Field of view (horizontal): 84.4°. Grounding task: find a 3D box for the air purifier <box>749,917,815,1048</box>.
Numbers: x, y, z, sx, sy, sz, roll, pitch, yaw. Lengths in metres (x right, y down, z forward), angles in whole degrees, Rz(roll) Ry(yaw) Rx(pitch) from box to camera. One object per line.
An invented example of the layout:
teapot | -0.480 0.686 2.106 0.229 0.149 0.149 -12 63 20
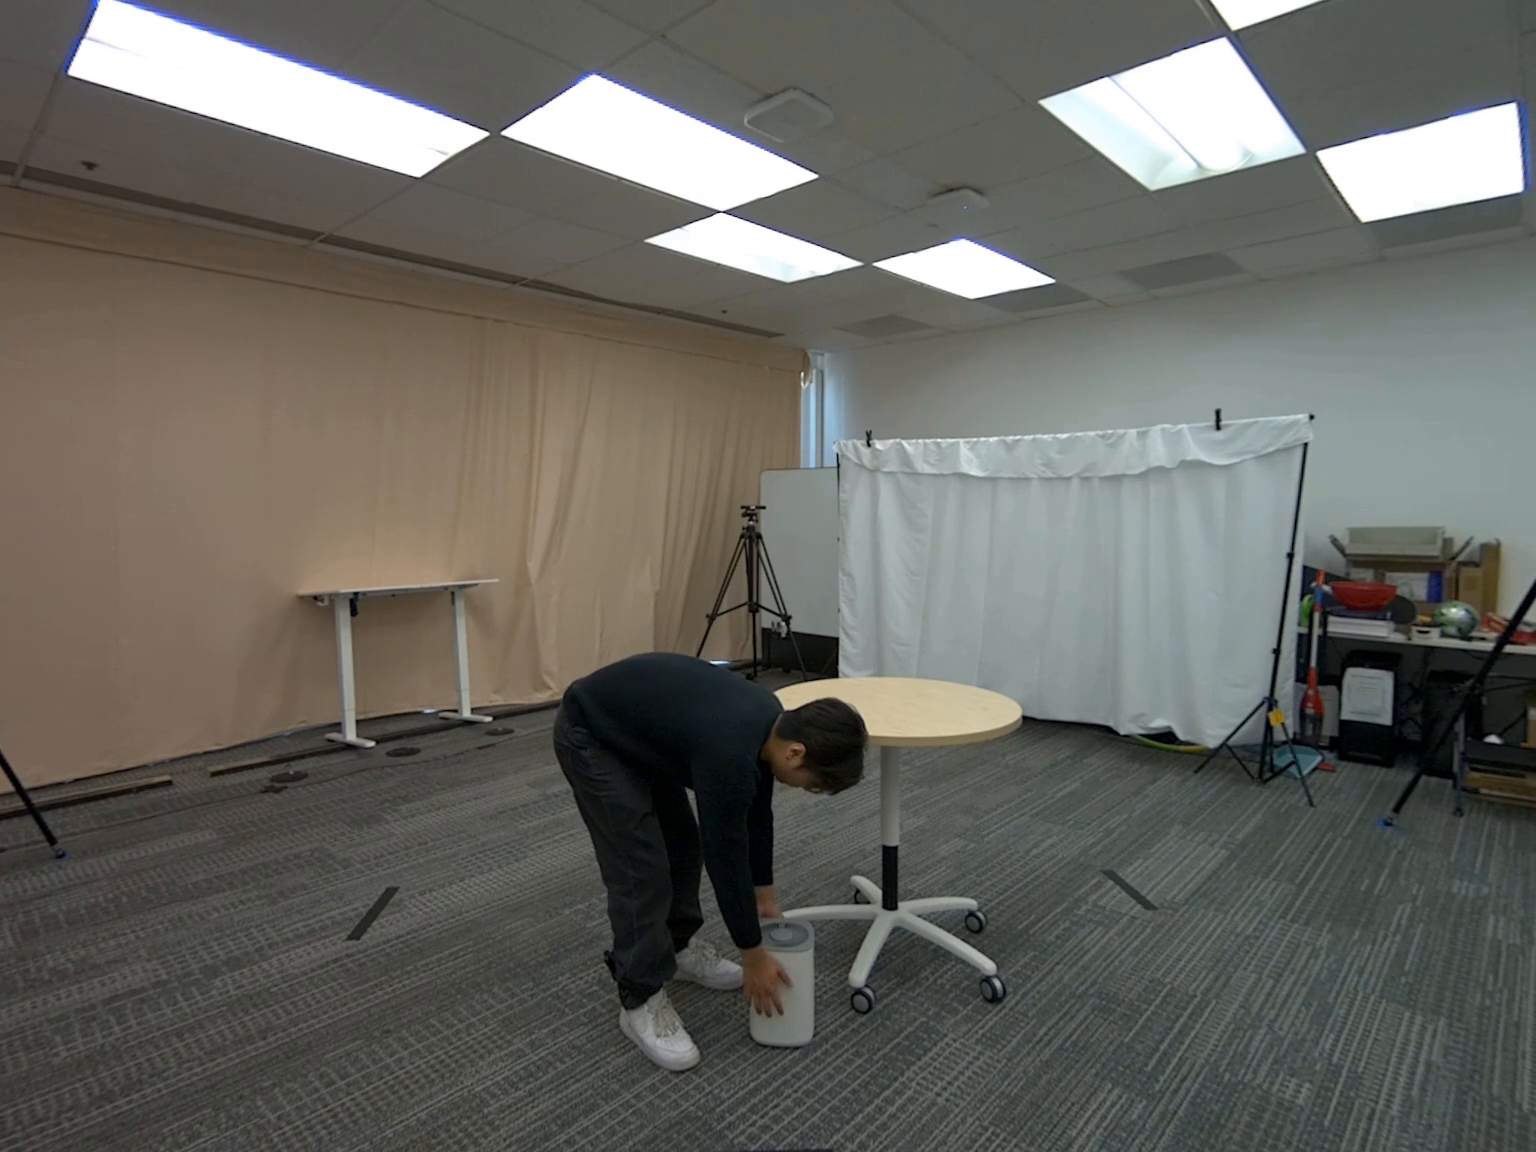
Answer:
air purifier | 0.052 1.079 2.222 0.172 0.265 0.171 2 3 3
